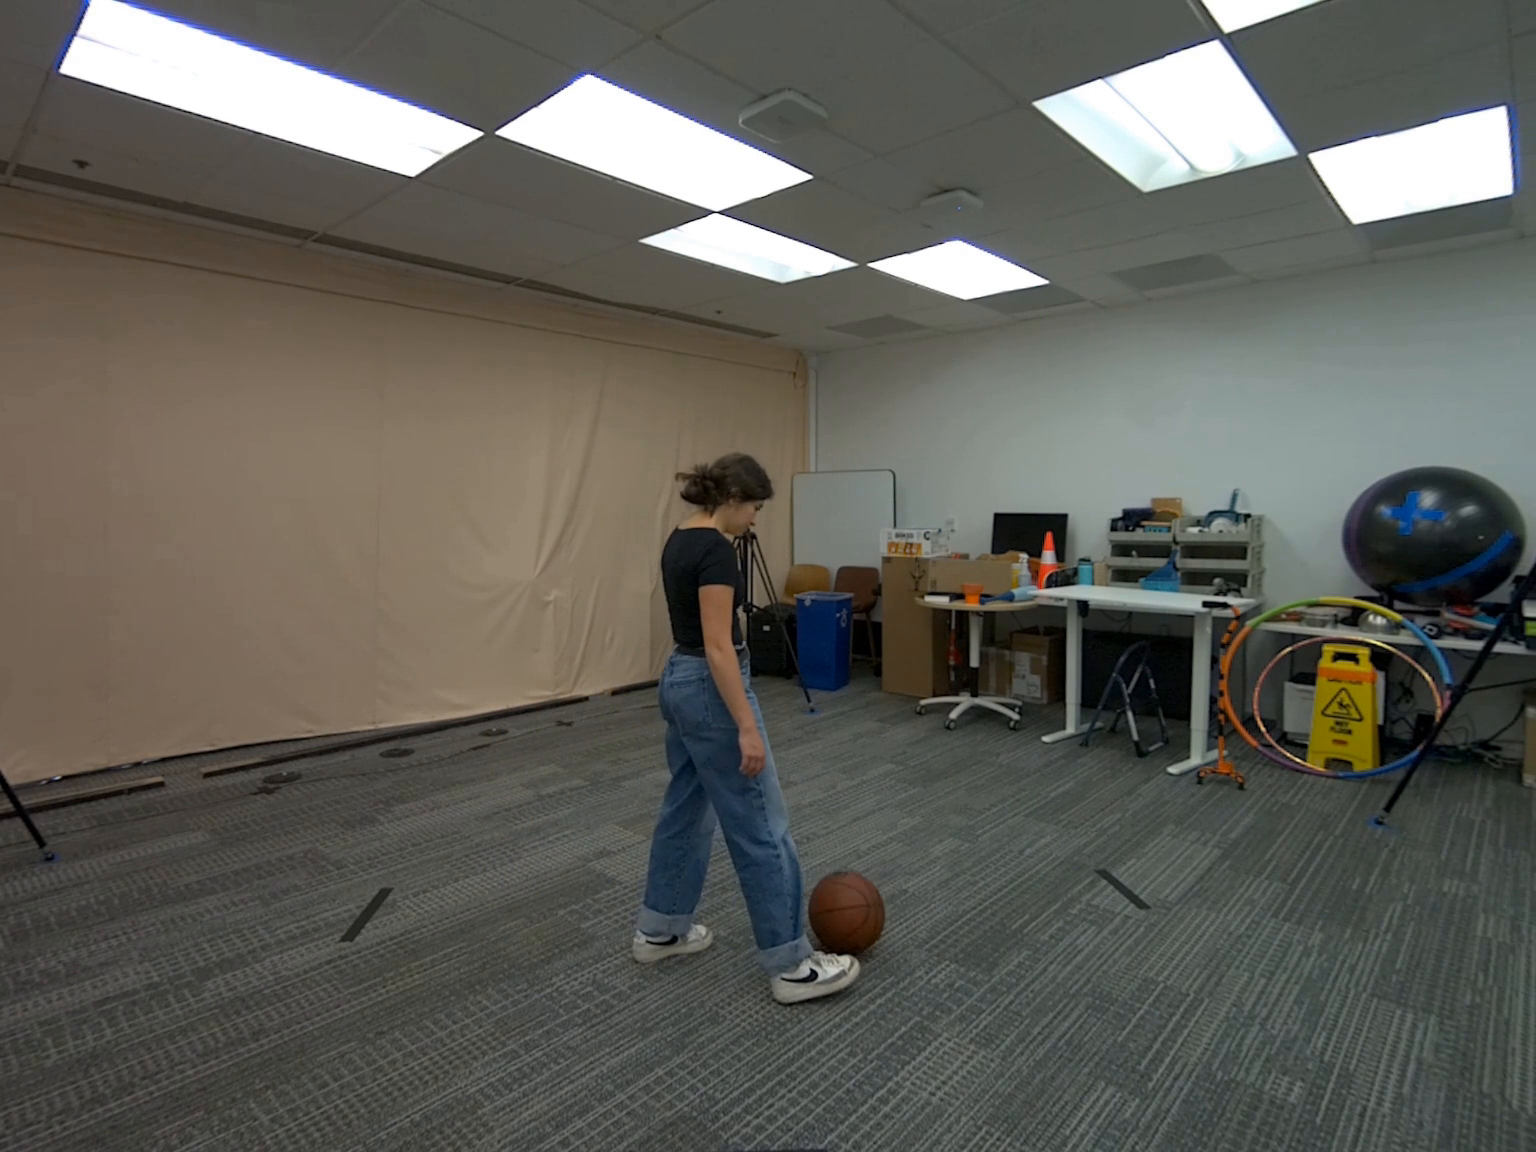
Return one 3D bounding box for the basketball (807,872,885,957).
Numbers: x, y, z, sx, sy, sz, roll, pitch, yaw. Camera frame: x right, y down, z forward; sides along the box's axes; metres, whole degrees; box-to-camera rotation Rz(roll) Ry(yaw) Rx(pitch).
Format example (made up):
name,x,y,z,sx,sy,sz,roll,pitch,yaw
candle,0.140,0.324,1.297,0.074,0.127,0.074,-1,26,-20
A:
name,x,y,z,sx,sy,sz,roll,pitch,yaw
basketball,0.251,1.051,2.634,0.236,0.235,0.237,0,4,-2
